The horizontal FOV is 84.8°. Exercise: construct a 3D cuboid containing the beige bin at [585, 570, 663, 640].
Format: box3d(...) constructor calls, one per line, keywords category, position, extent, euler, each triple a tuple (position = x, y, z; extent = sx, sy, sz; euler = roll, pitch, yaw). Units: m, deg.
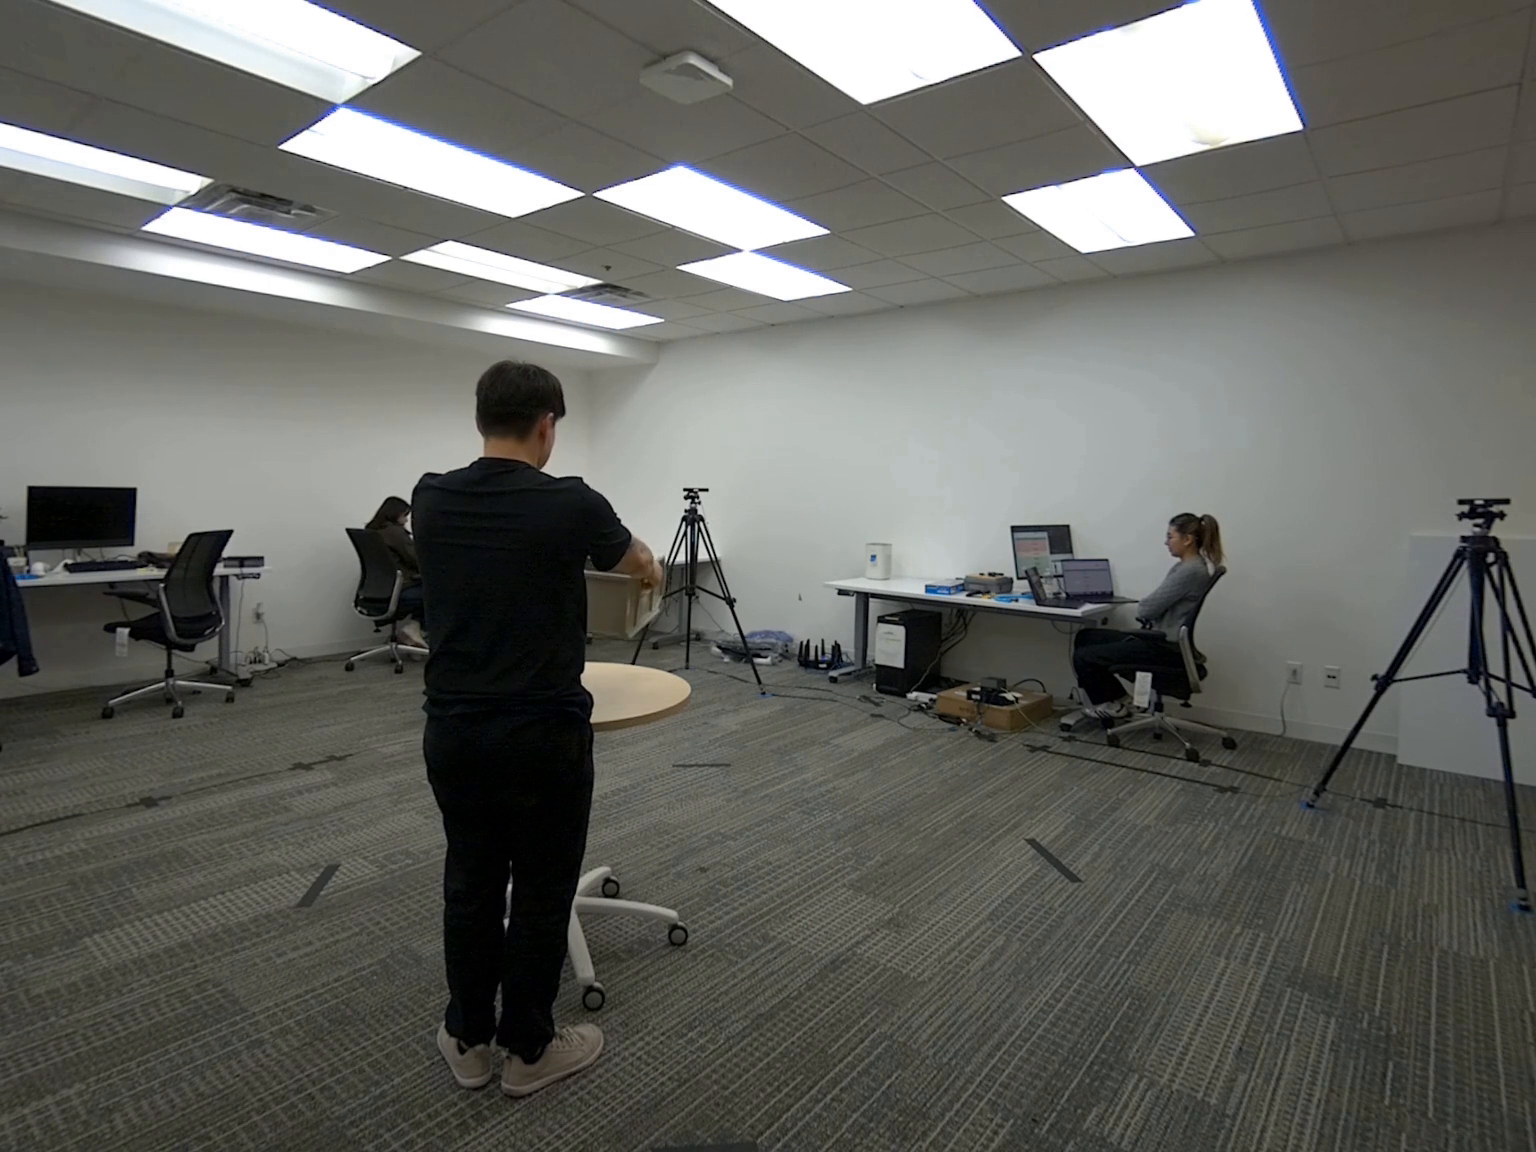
box3d(category="beige bin", position=(-0.558, 0.026, 2.528), extent=(0.427, 0.187, 0.377), euler=(5, 14, 9))
